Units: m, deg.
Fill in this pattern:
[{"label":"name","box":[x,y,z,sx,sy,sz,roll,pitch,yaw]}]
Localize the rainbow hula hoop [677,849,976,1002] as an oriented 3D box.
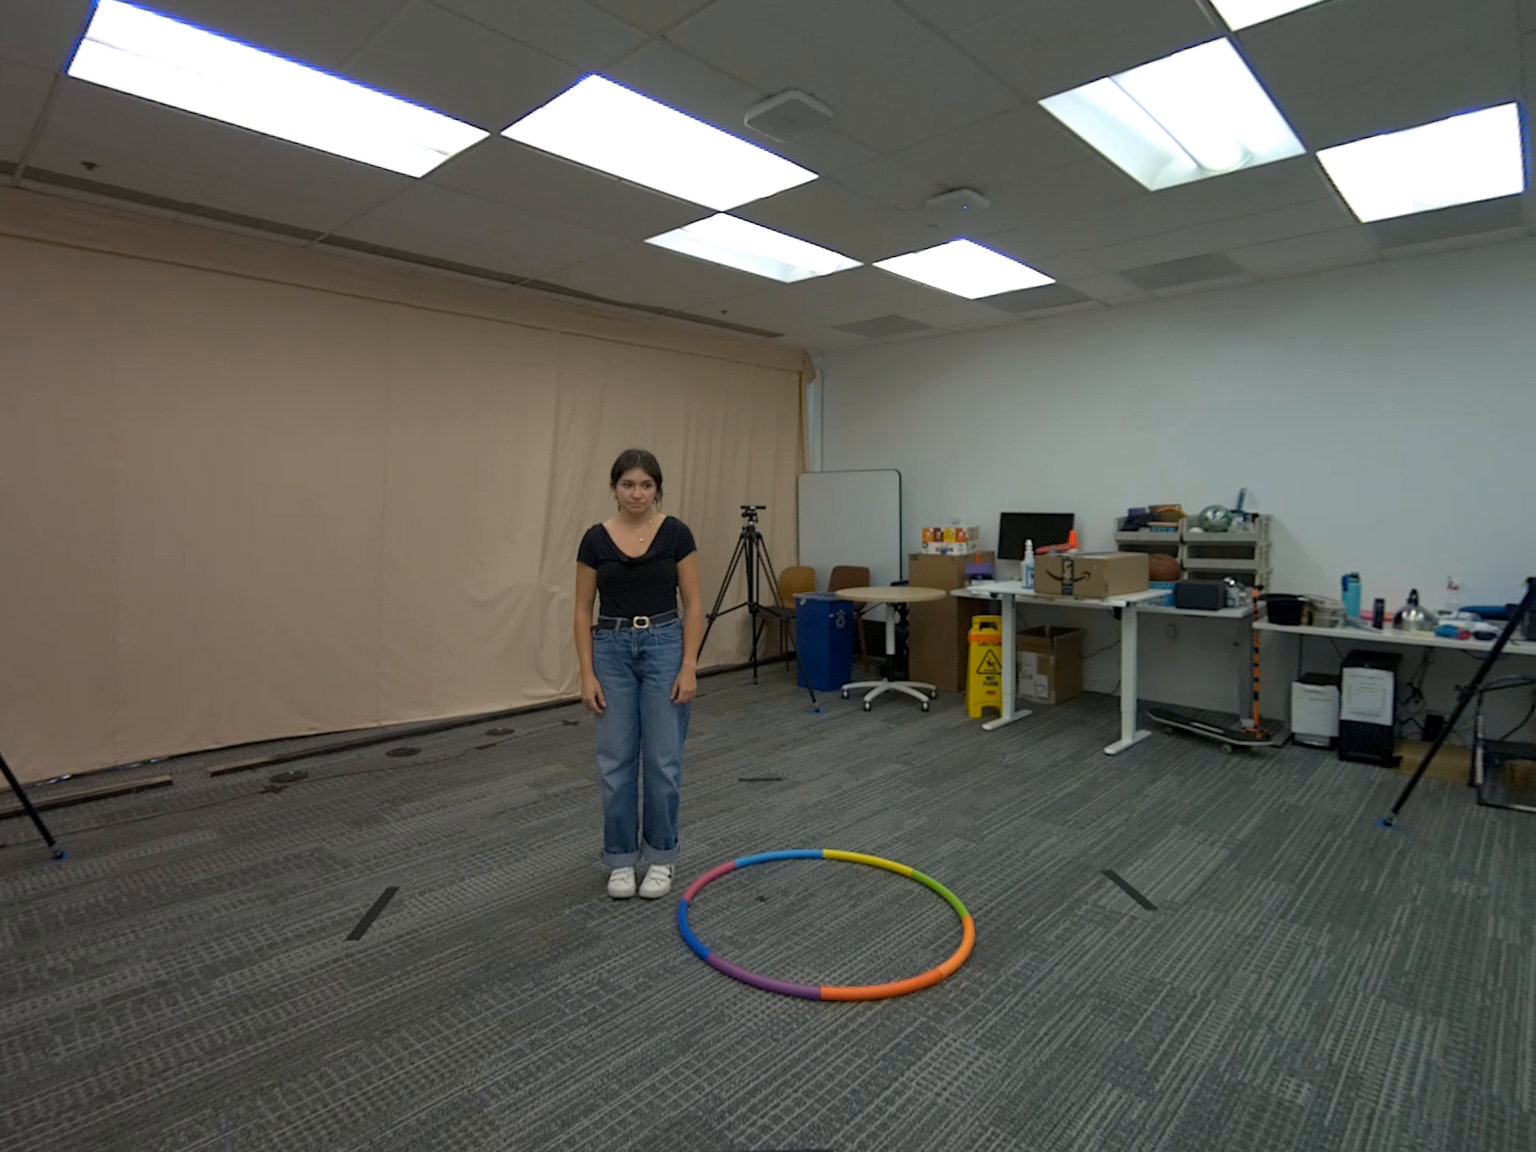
[{"label":"rainbow hula hoop","box":[0.189,1.125,2.851,0.978,0.035,0.982,-1,5,-2]}]
